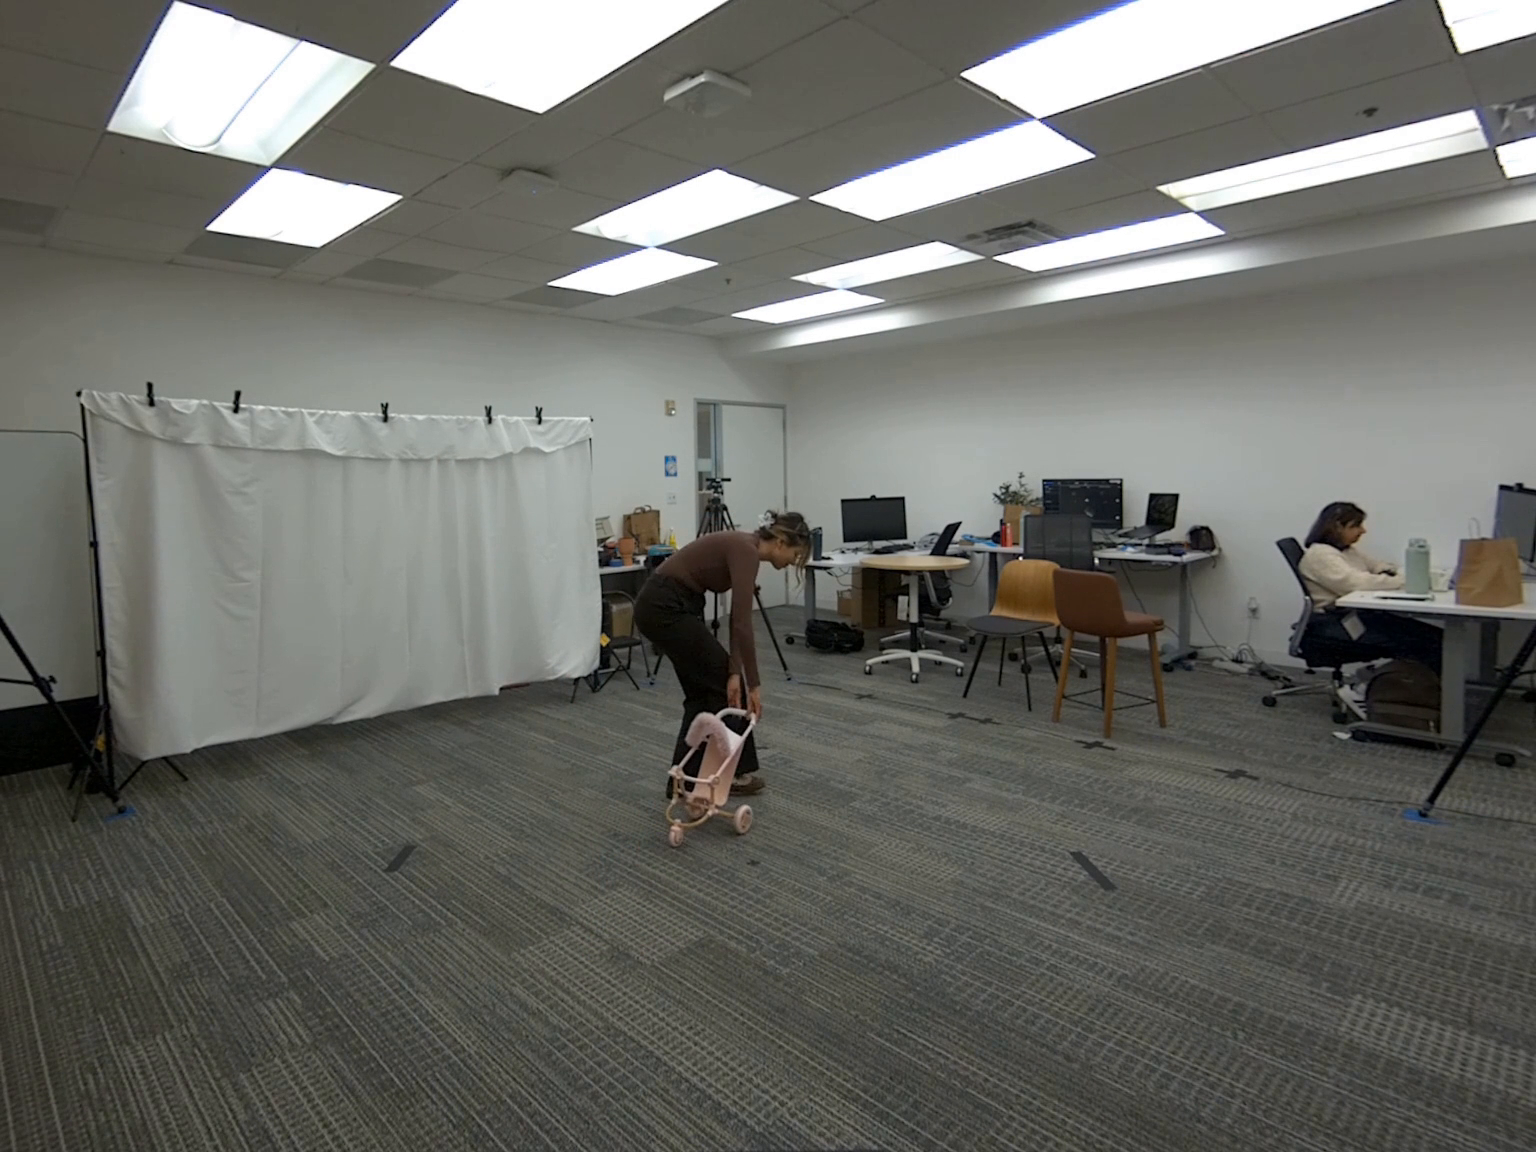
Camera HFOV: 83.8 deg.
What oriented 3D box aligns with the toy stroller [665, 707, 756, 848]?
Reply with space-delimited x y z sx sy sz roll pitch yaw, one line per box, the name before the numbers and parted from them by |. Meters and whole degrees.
toy stroller | -0.247 0.792 3.386 0.290 0.538 0.329 2 -11 42
